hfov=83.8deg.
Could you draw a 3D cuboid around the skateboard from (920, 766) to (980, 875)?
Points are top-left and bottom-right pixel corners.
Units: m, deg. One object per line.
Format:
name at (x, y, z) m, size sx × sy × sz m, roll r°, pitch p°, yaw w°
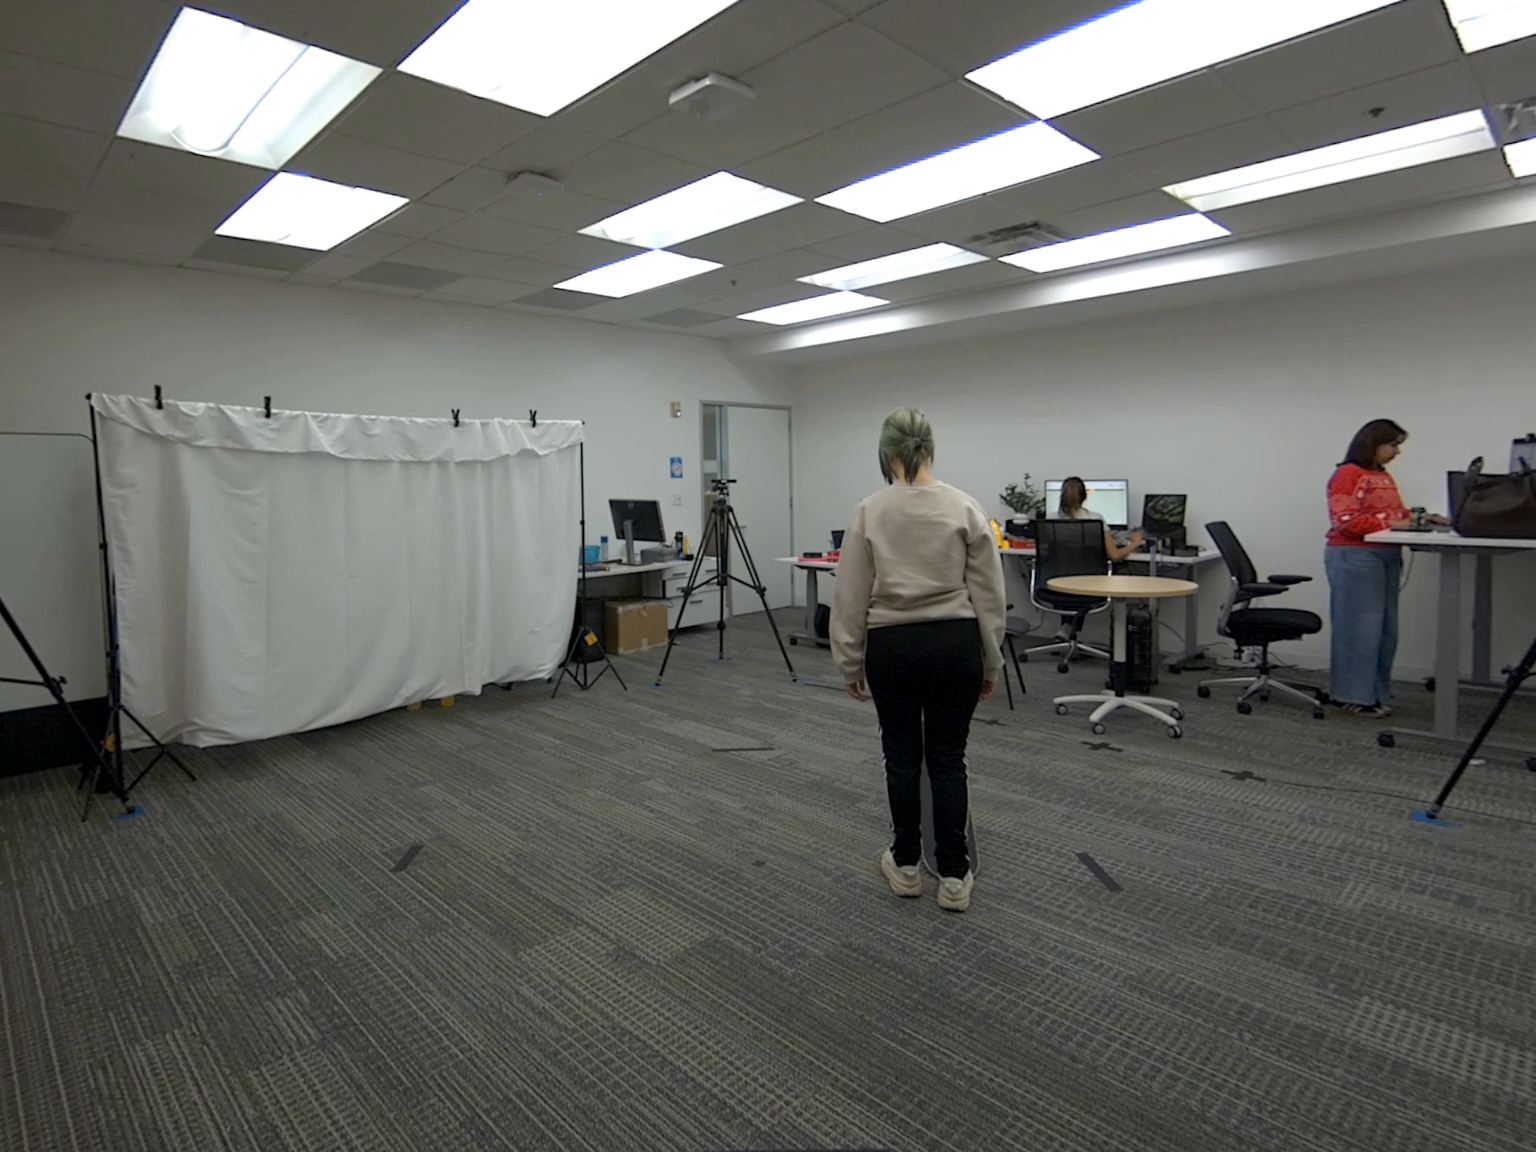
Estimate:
skateboard at (0.685, 0.871, 3.300) m, size 0.195 × 0.107 × 0.800 m, roll -1°, pitch 33°, yaw 6°
